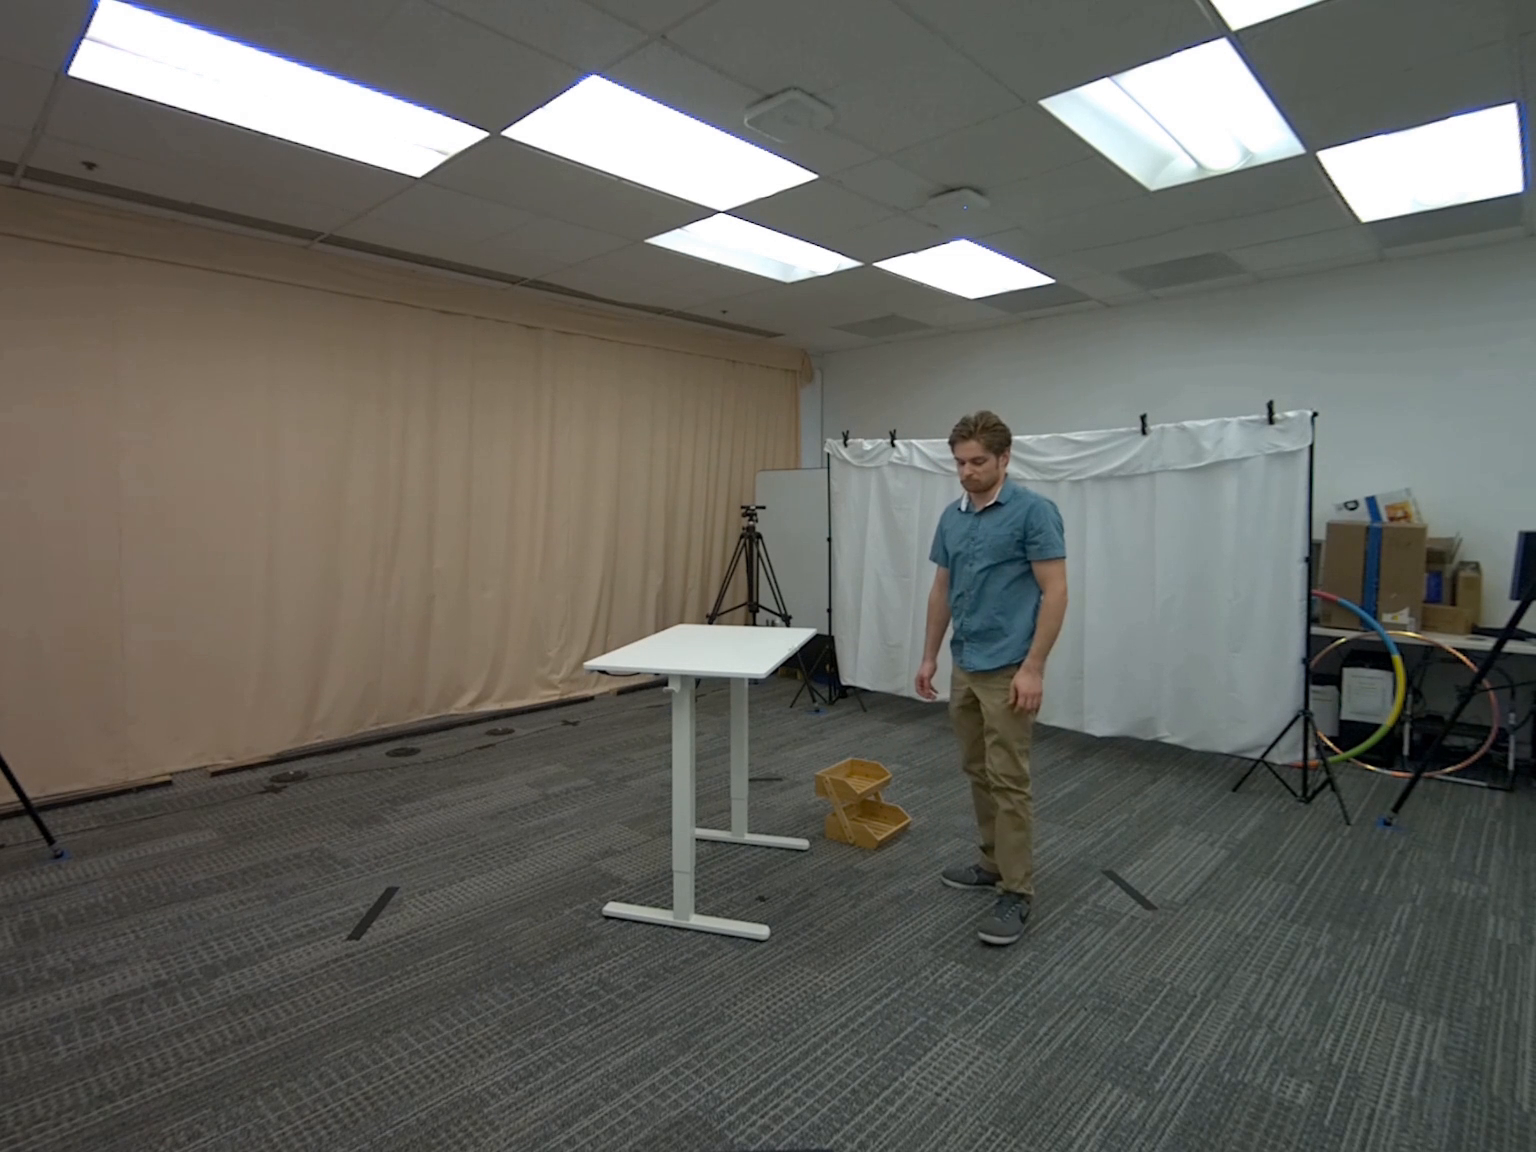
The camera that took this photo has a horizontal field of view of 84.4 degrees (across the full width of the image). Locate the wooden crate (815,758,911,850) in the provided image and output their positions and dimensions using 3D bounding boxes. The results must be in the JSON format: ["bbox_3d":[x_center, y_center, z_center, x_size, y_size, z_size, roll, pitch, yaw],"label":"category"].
[{"bbox_3d":[0.411,0.958,3.590,0.312,0.273,0.315,2,4,37],"label":"wooden crate"}]
